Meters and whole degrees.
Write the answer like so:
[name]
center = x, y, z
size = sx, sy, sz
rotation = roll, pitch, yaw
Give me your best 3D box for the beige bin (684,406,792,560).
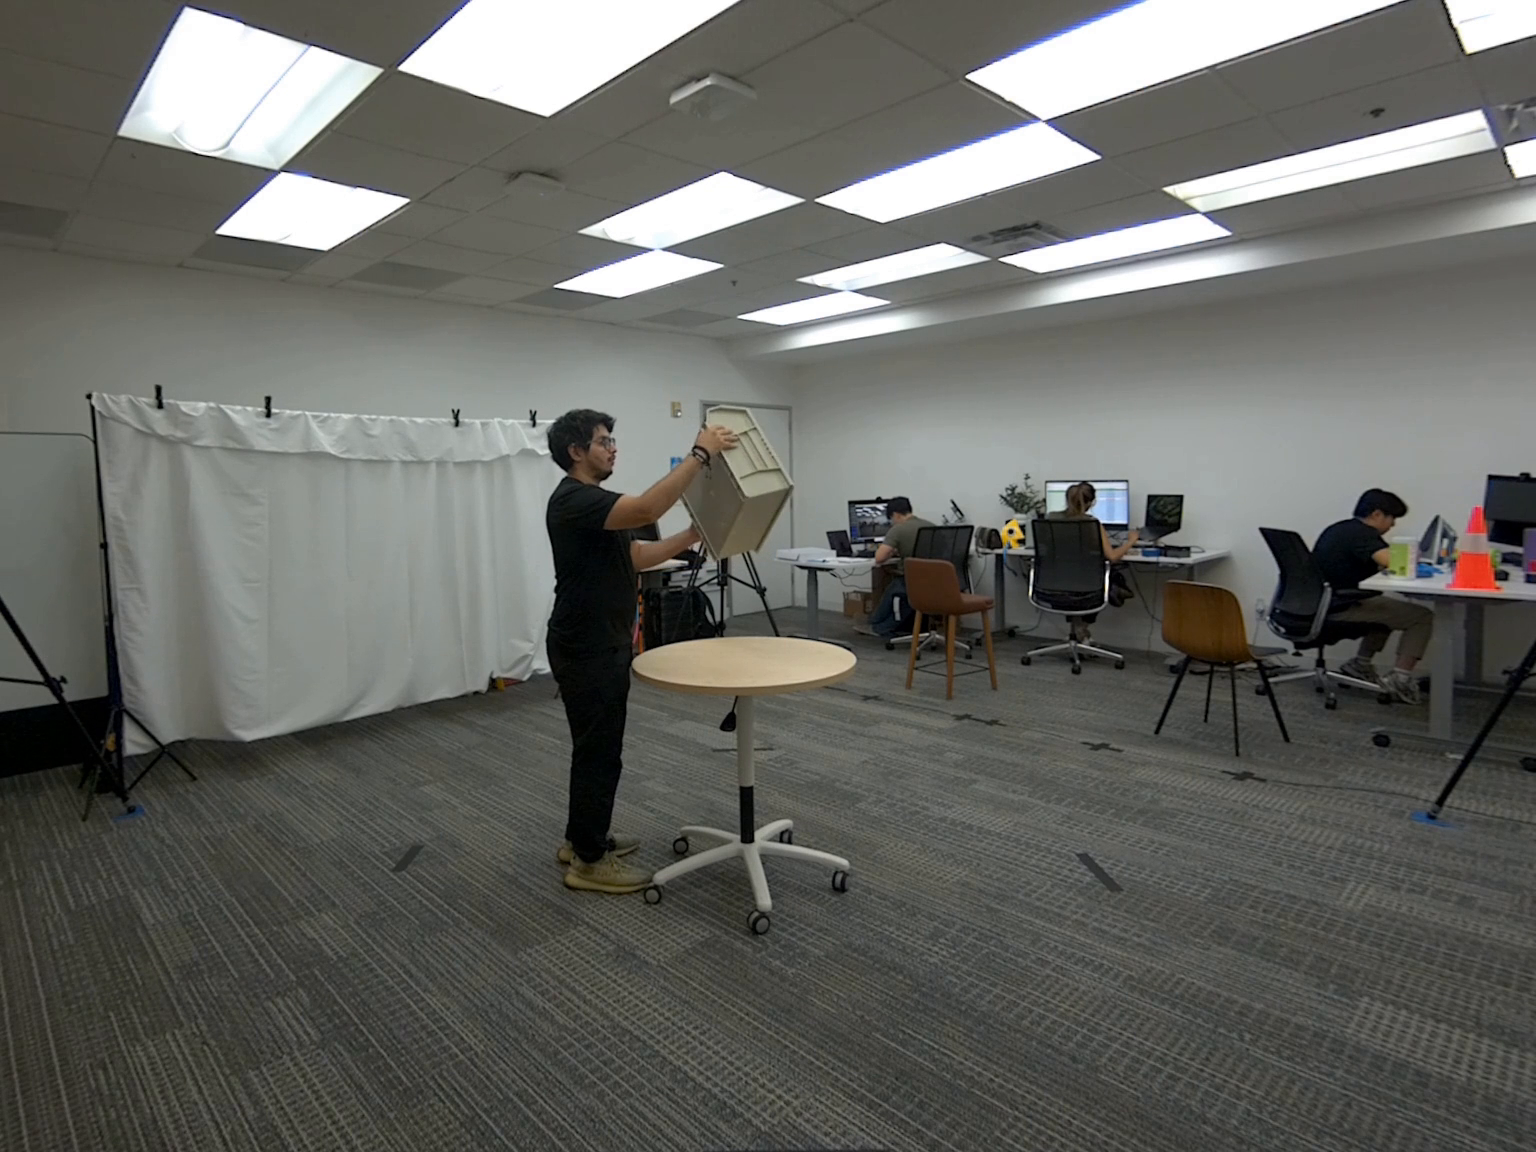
[beige bin]
center = -0.135, -0.316, 2.969
size = 0.186, 0.388, 0.417
rotation = -15, -26, -26
